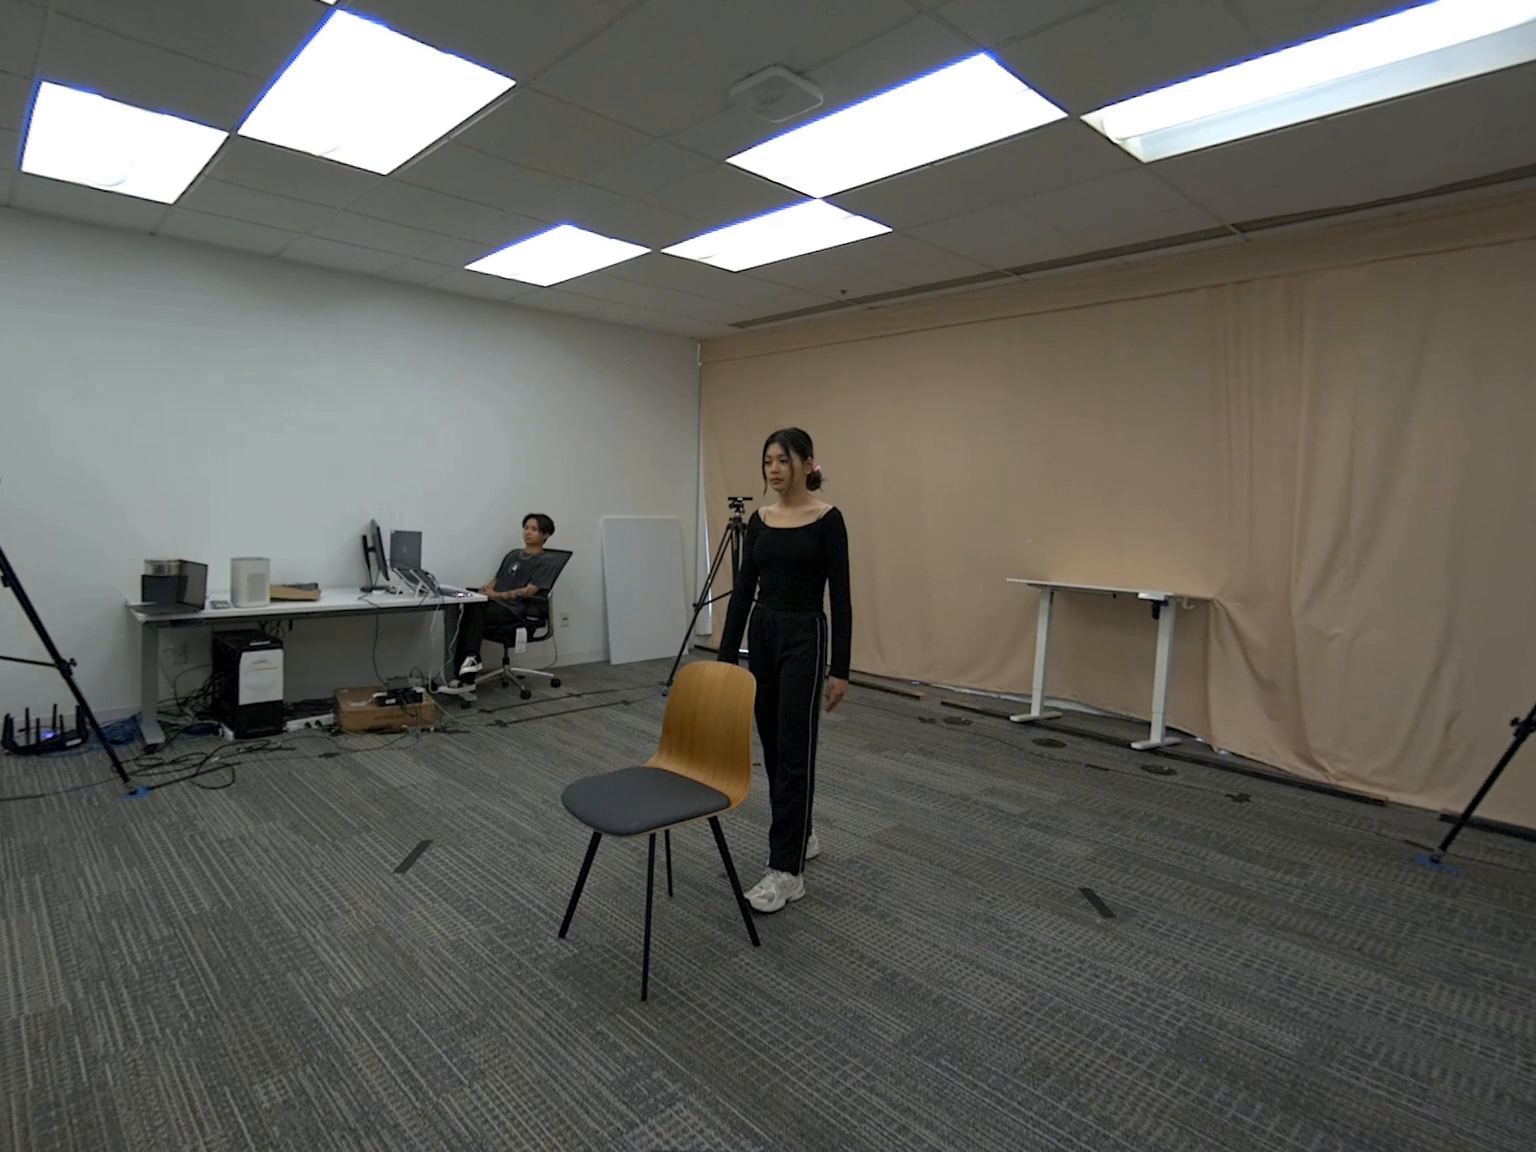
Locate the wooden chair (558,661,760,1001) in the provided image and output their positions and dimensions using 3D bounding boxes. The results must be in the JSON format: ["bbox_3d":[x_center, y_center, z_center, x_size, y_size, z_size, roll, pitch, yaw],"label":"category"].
[{"bbox_3d":[-0.343,0.724,2.591,0.510,0.877,0.490,4,0,-44],"label":"wooden chair"}]
